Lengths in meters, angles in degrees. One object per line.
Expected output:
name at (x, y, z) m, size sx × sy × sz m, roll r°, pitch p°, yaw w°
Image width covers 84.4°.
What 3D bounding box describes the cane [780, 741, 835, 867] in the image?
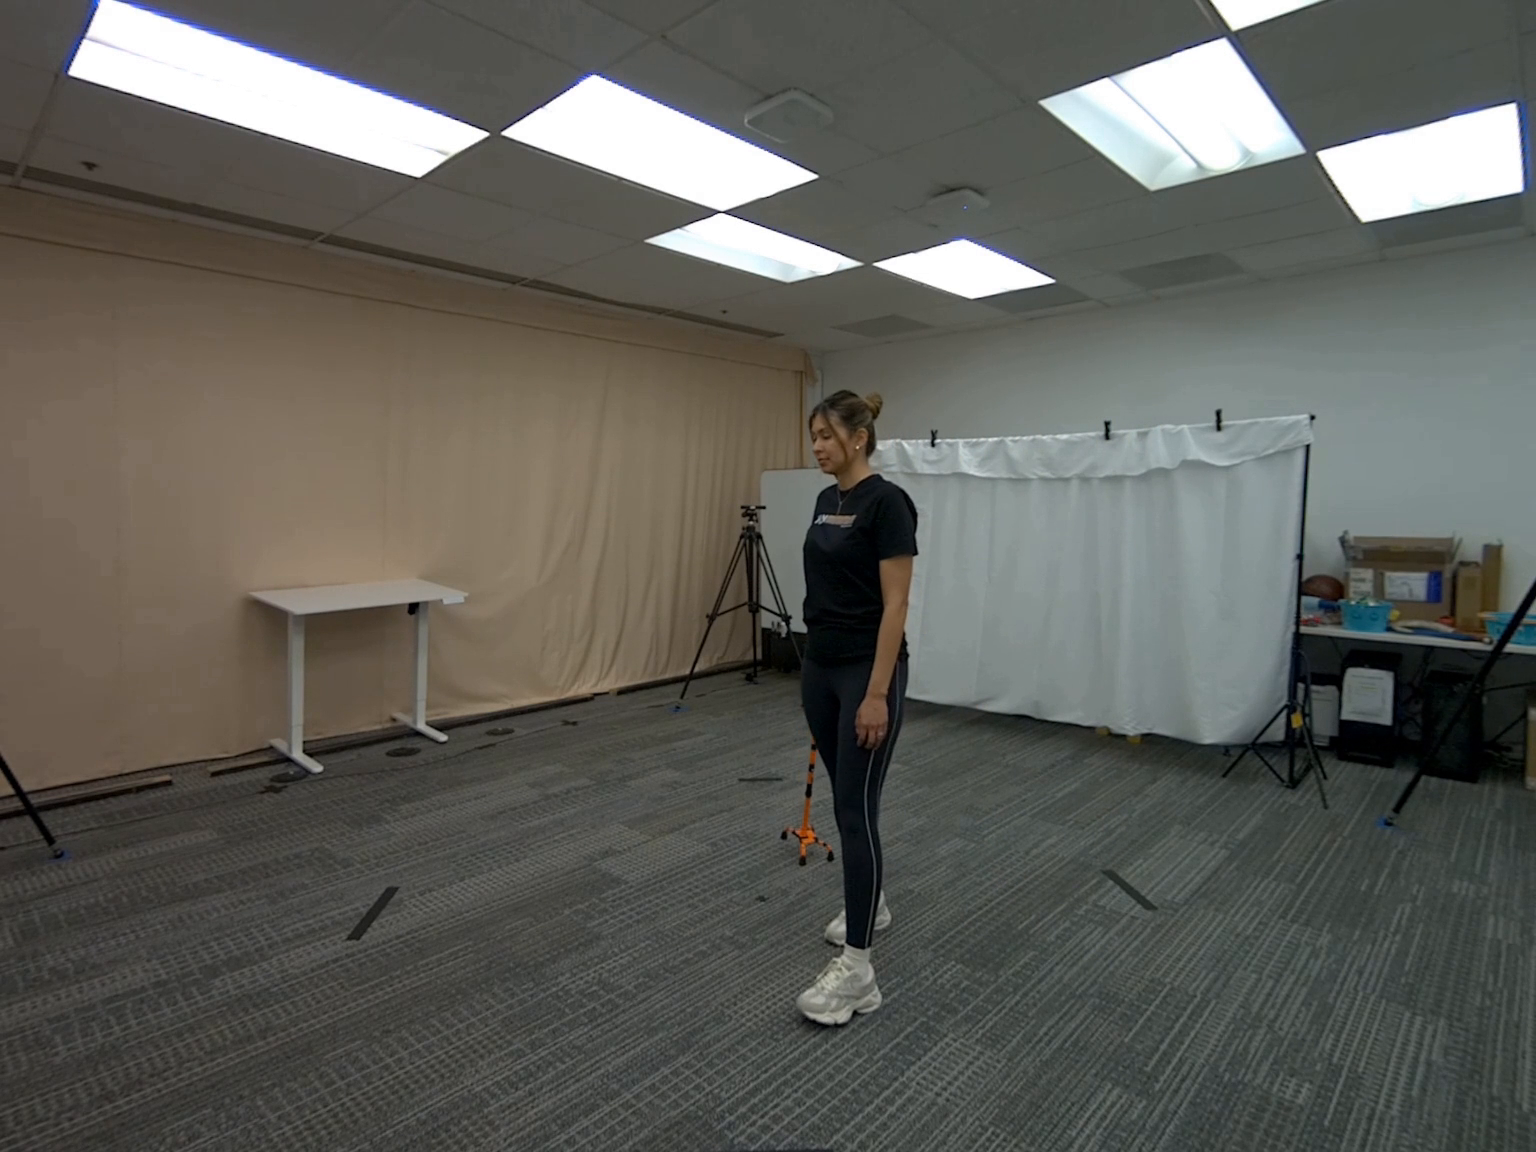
cane at (0.196, 0.660, 3.260) m, size 0.148 × 0.902 × 0.212 m, roll 0°, pitch 13°, yaw -21°
